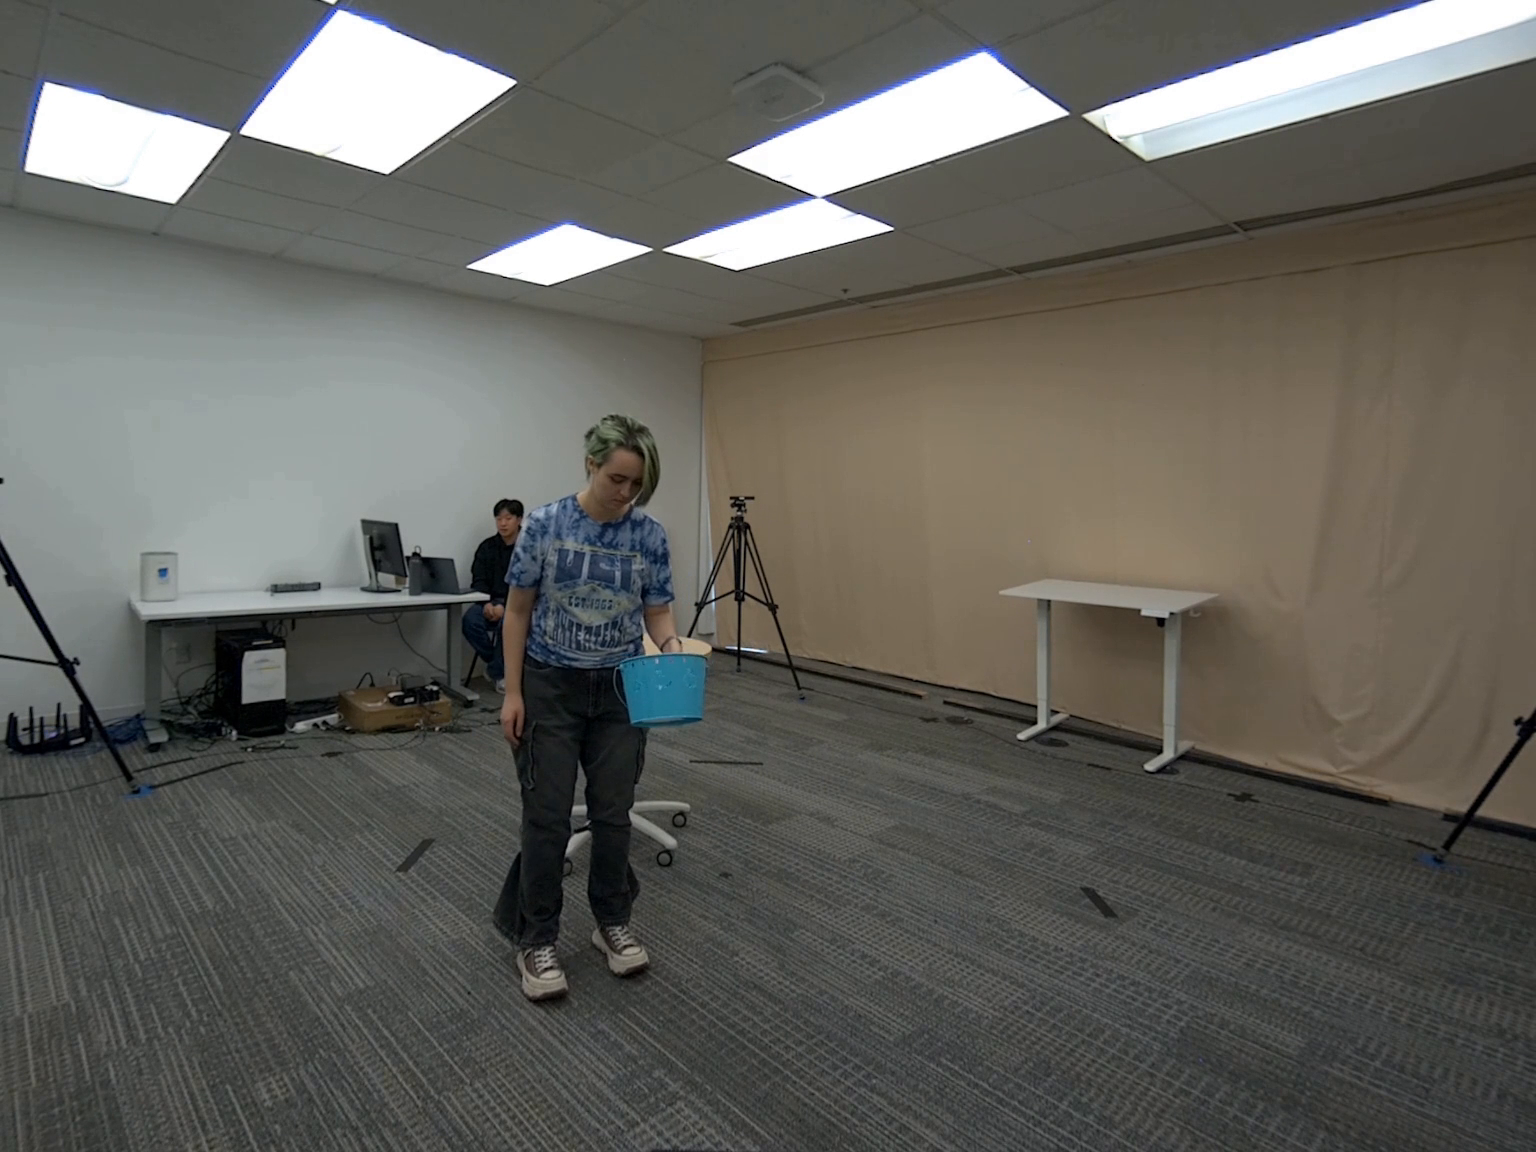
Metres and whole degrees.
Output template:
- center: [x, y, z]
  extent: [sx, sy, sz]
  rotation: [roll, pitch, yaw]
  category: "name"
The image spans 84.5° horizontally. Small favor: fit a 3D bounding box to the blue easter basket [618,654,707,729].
- center: [-0.268, 0.309, 2.116]
  extent: [0.243, 0.158, 0.241]
  rotation: [-3, -14, -2]
  category: "blue easter basket"
